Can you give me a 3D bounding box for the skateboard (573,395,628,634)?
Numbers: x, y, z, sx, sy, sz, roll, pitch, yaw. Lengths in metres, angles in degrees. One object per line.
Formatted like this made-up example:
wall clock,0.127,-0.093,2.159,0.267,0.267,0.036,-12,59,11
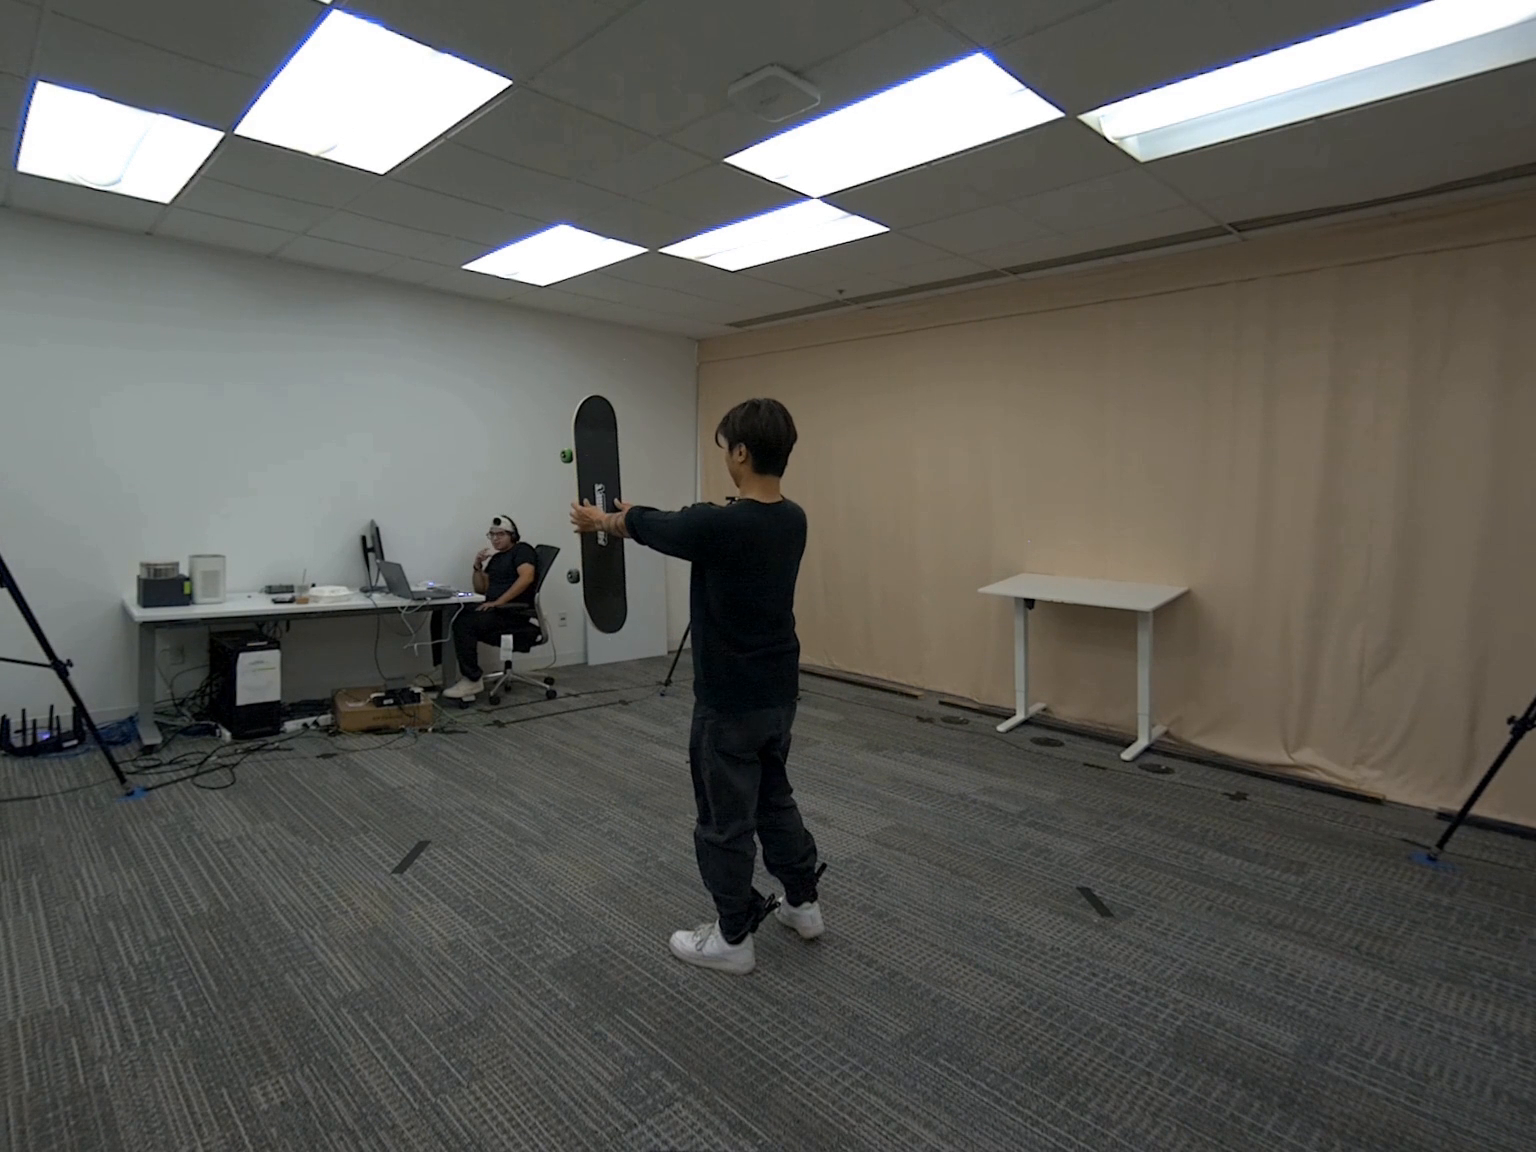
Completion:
skateboard,-0.585,-0.194,2.804,0.113,0.787,0.189,-5,-3,39
